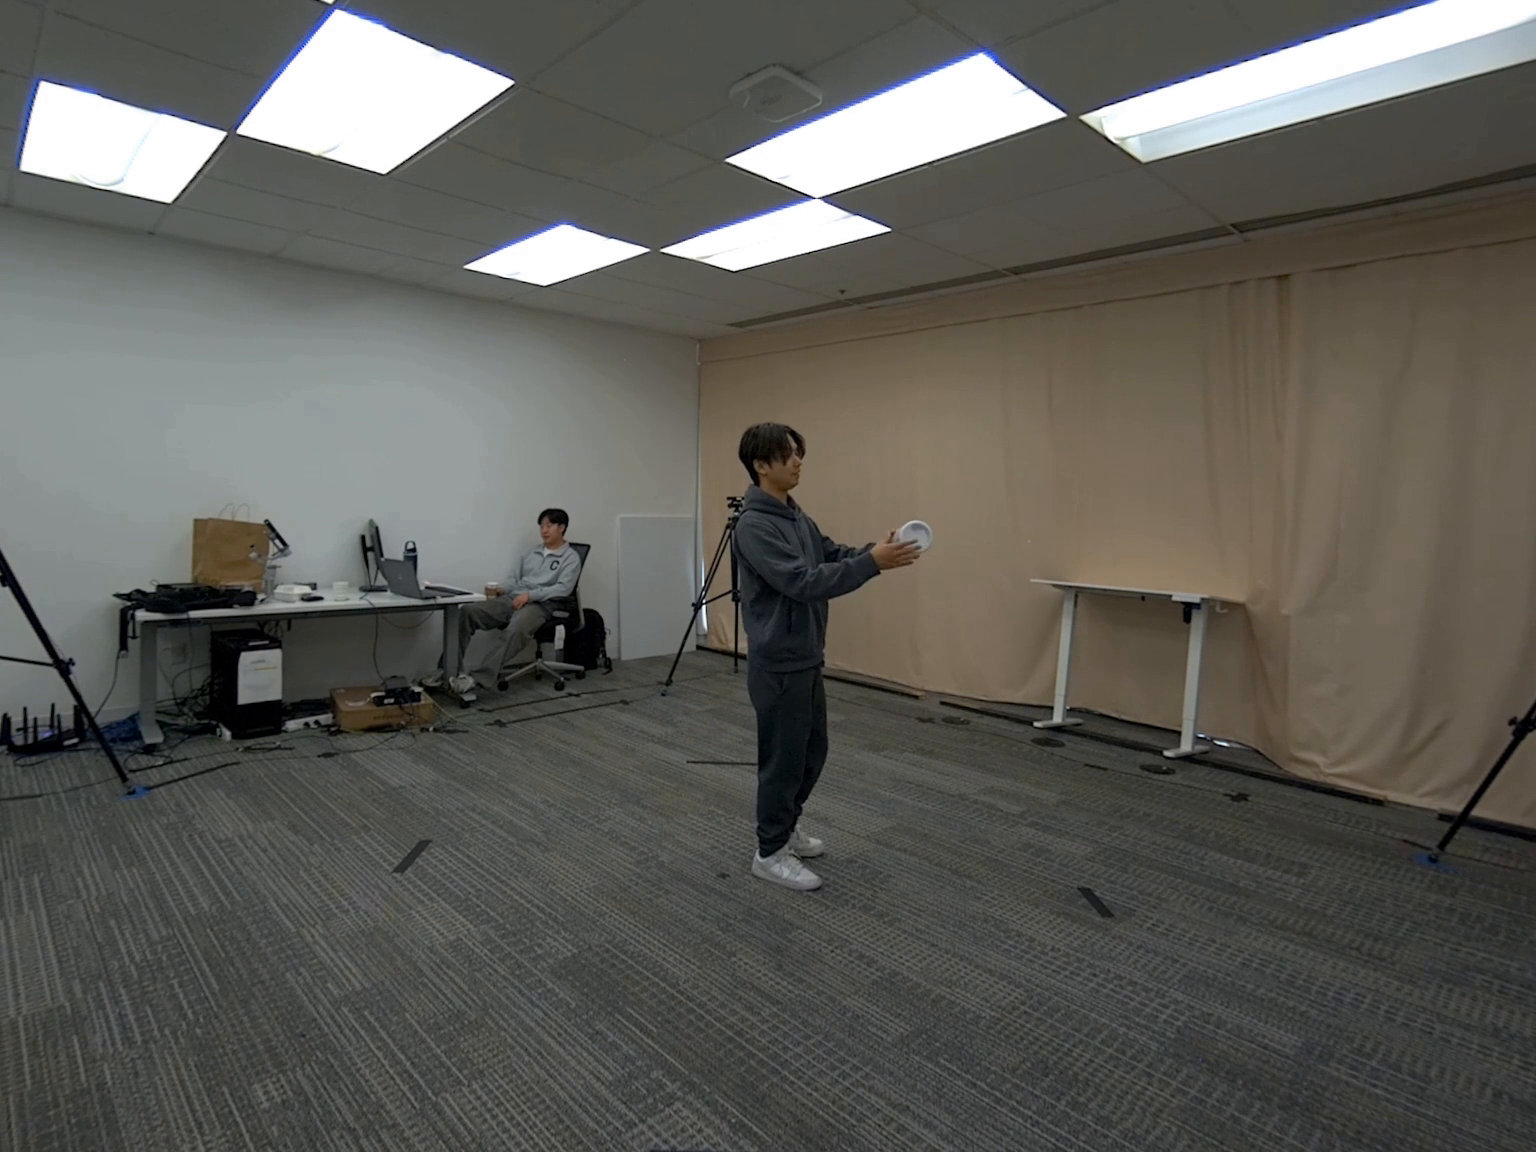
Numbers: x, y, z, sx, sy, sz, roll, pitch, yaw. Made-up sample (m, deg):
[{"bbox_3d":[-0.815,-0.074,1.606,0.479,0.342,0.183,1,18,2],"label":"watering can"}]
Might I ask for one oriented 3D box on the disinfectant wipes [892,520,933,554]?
[{"bbox_3d":[0.483,-0.128,2.847,0.118,0.118,0.216,2,-2,6],"label":"disinfectant wipes"}]
